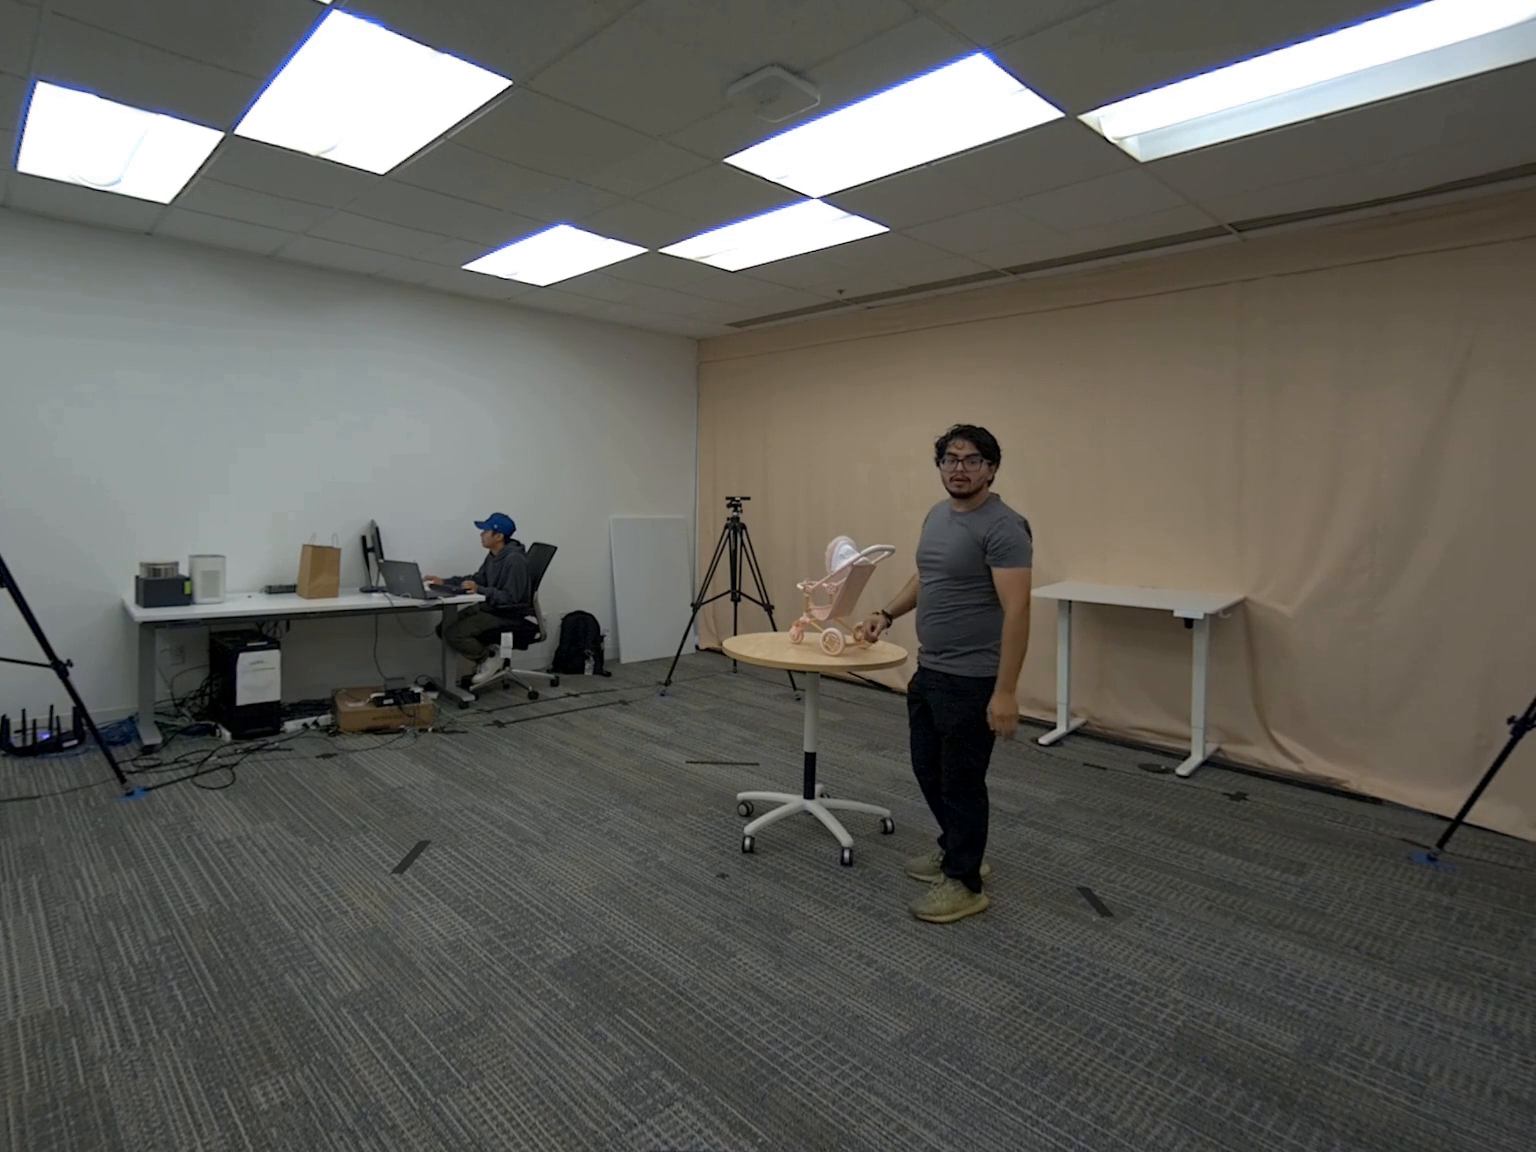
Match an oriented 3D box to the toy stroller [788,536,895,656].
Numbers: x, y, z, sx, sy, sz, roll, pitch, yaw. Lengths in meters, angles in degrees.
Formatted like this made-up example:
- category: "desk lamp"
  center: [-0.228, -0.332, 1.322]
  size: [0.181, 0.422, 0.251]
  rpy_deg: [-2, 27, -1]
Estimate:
- category: "toy stroller"
  center: [0.277, 0.079, 3.452]
  size: [0.352, 0.531, 0.275]
  rpy_deg: [24, 16, 39]
